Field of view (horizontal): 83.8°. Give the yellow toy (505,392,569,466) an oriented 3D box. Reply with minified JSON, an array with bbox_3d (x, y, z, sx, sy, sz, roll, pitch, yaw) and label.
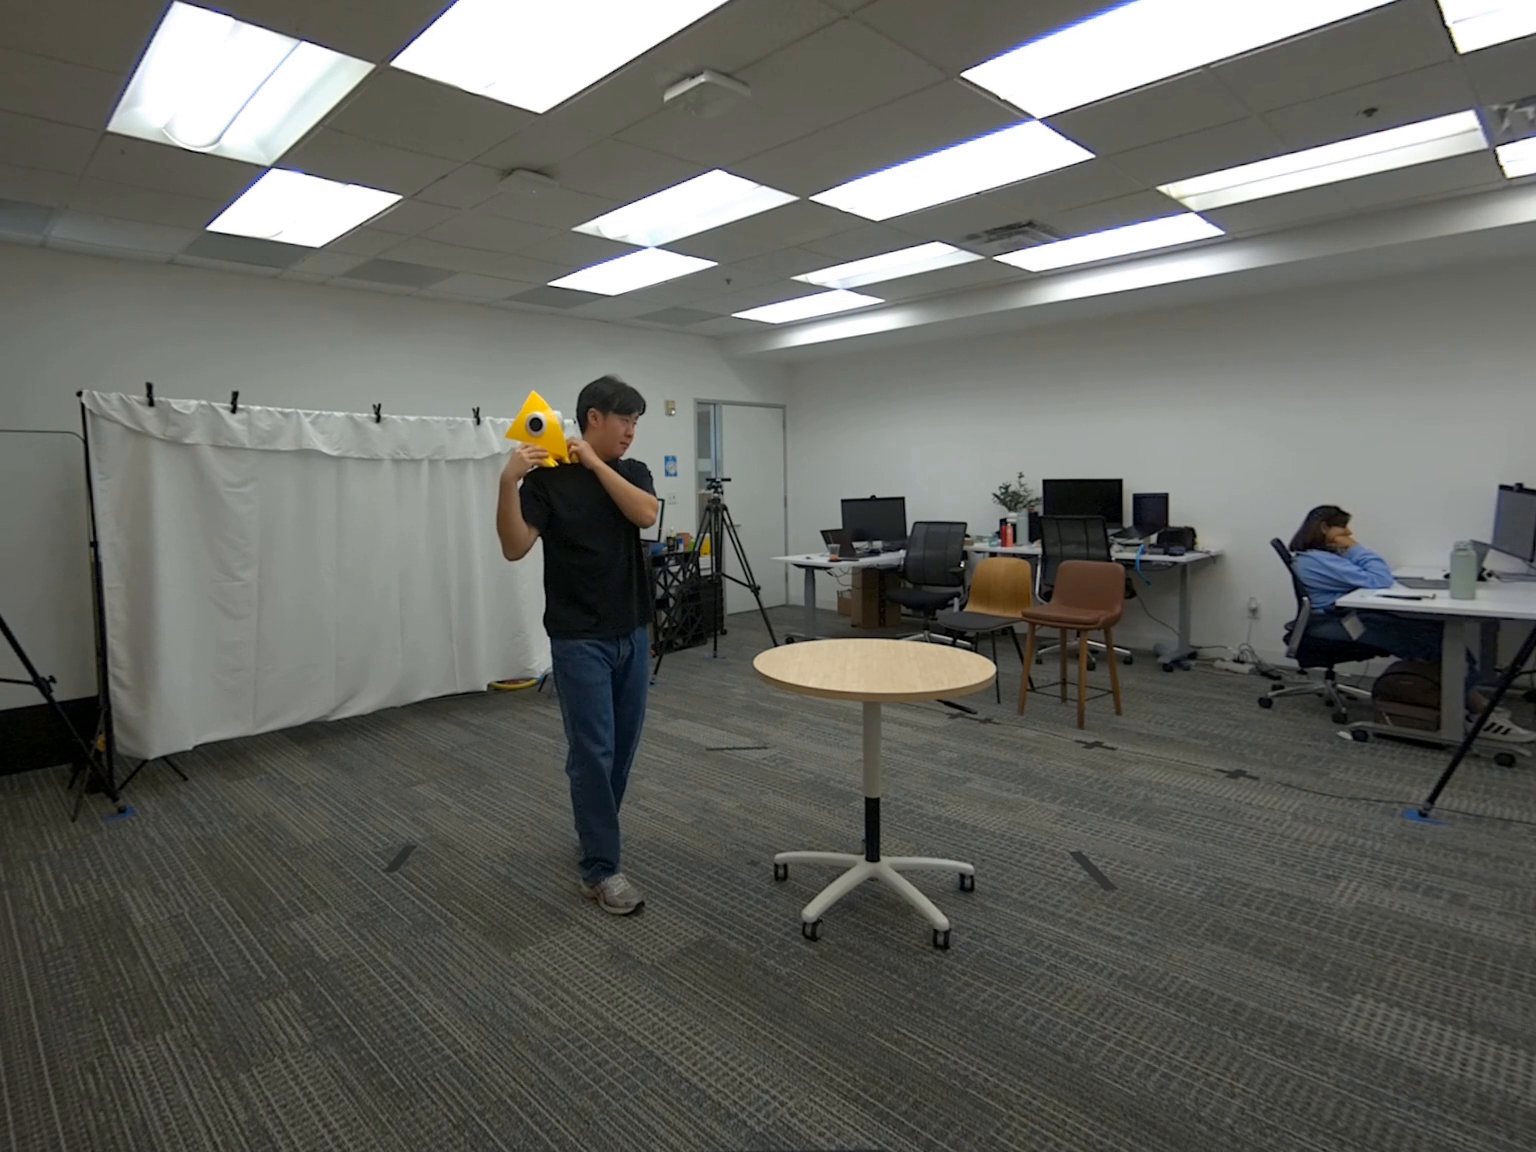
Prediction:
[{"bbox_3d":[-0.739,-0.497,2.846,0.198,0.228,0.201,13,16,26],"label":"yellow toy"}]
